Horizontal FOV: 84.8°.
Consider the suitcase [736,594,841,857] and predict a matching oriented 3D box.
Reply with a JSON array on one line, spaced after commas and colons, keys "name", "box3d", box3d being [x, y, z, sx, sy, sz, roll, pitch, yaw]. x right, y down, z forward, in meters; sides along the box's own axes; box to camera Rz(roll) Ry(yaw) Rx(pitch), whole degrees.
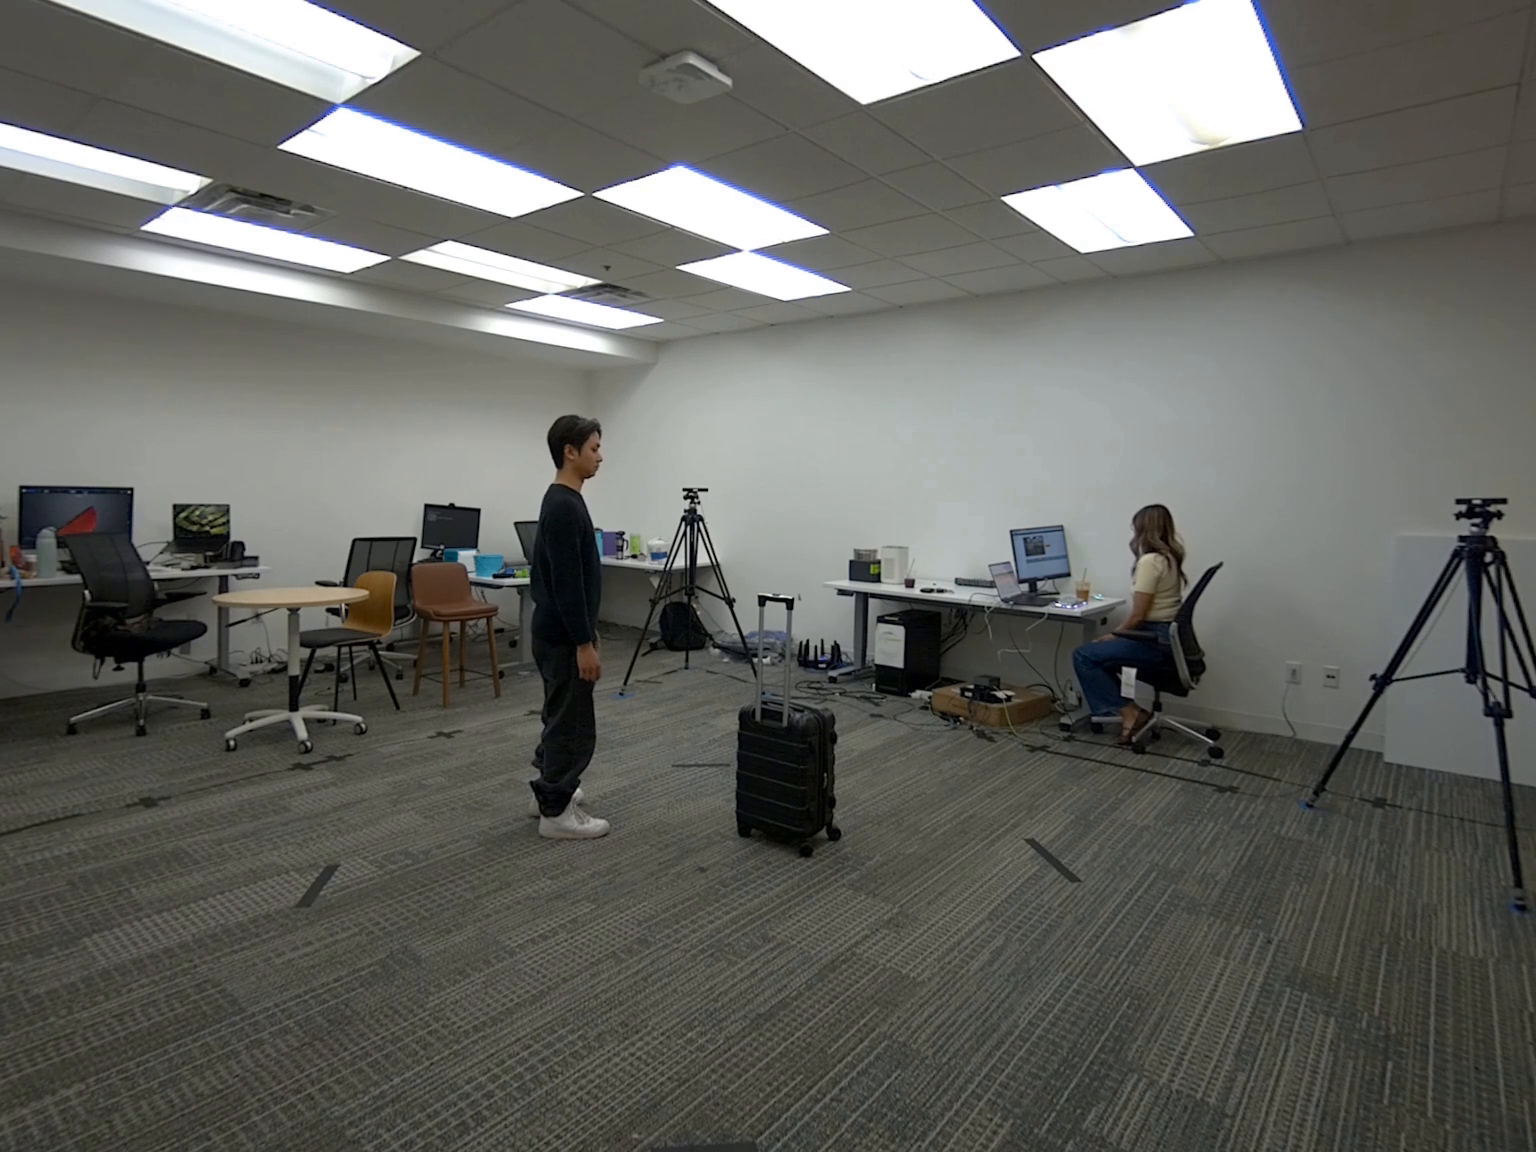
[{"name": "suitcase", "box3d": [0.064, 0.567, 3.405, 0.396, 0.977, 0.249, 2, 2, 38]}]
